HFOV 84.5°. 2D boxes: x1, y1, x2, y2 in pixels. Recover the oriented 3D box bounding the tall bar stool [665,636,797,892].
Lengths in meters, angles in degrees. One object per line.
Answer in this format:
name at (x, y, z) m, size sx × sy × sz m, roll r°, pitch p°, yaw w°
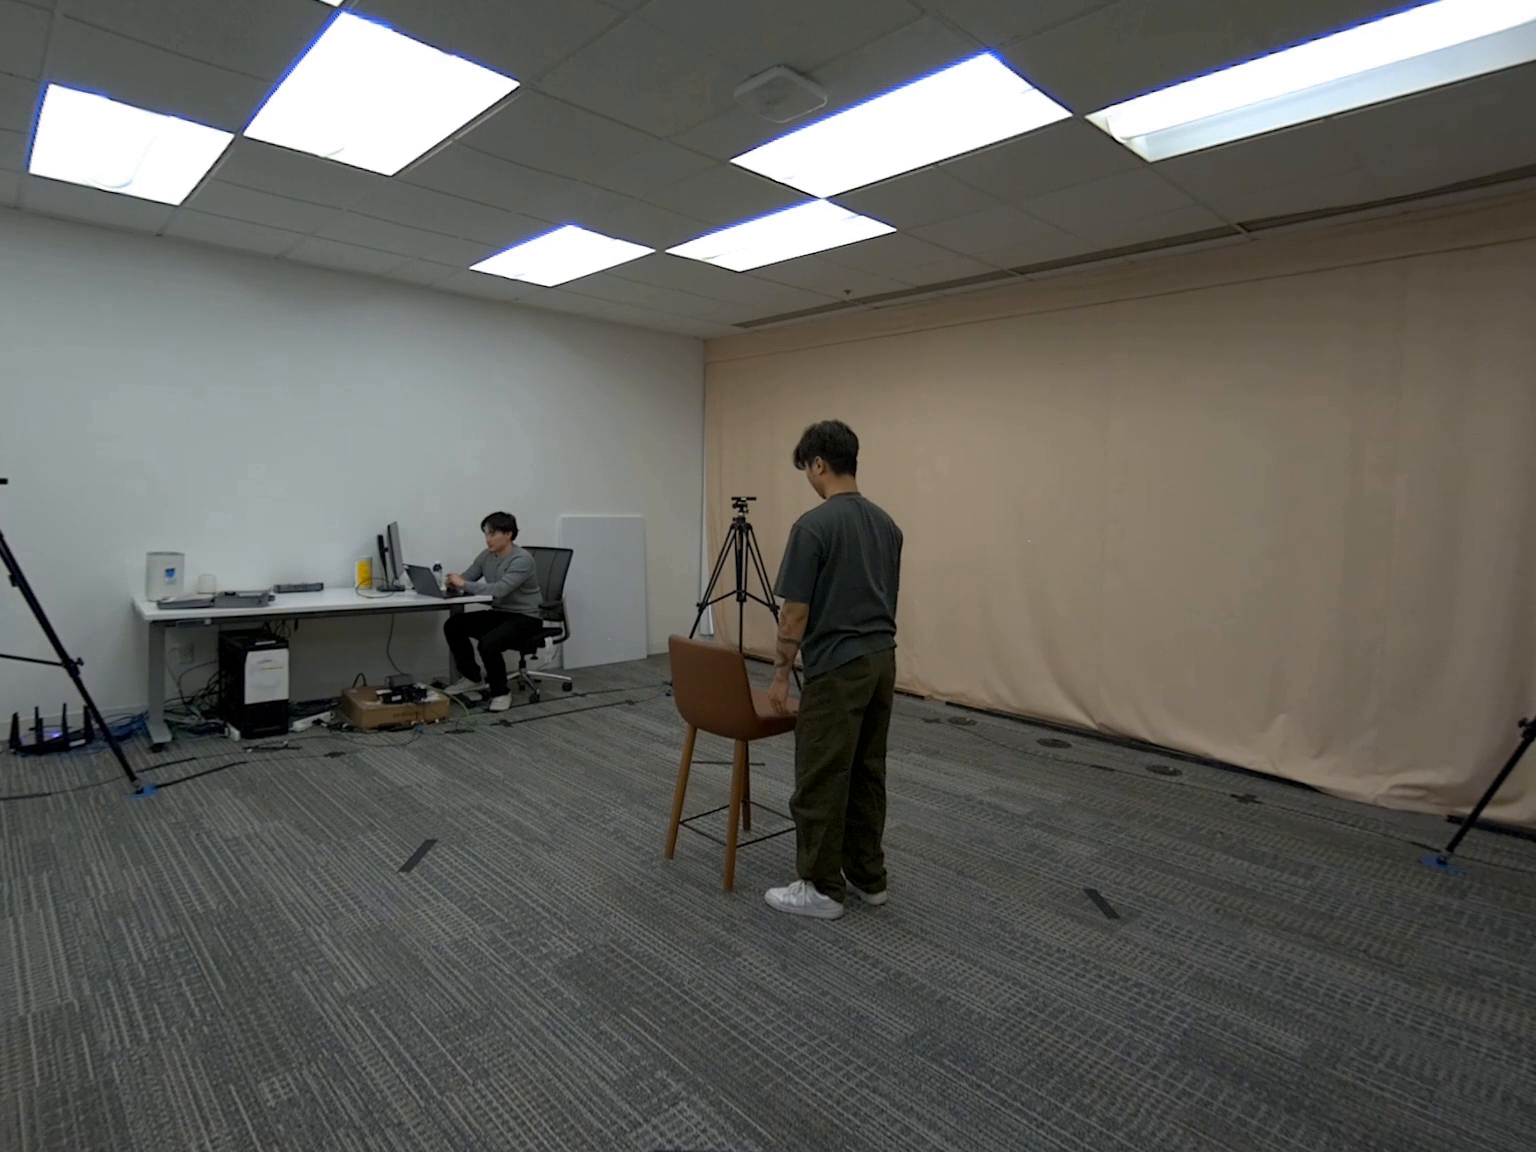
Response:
tall bar stool at (-0.112, 0.661, 3.233) m, size 0.457 × 0.887 × 0.468 m, roll -4°, pitch 5°, yaw -42°
